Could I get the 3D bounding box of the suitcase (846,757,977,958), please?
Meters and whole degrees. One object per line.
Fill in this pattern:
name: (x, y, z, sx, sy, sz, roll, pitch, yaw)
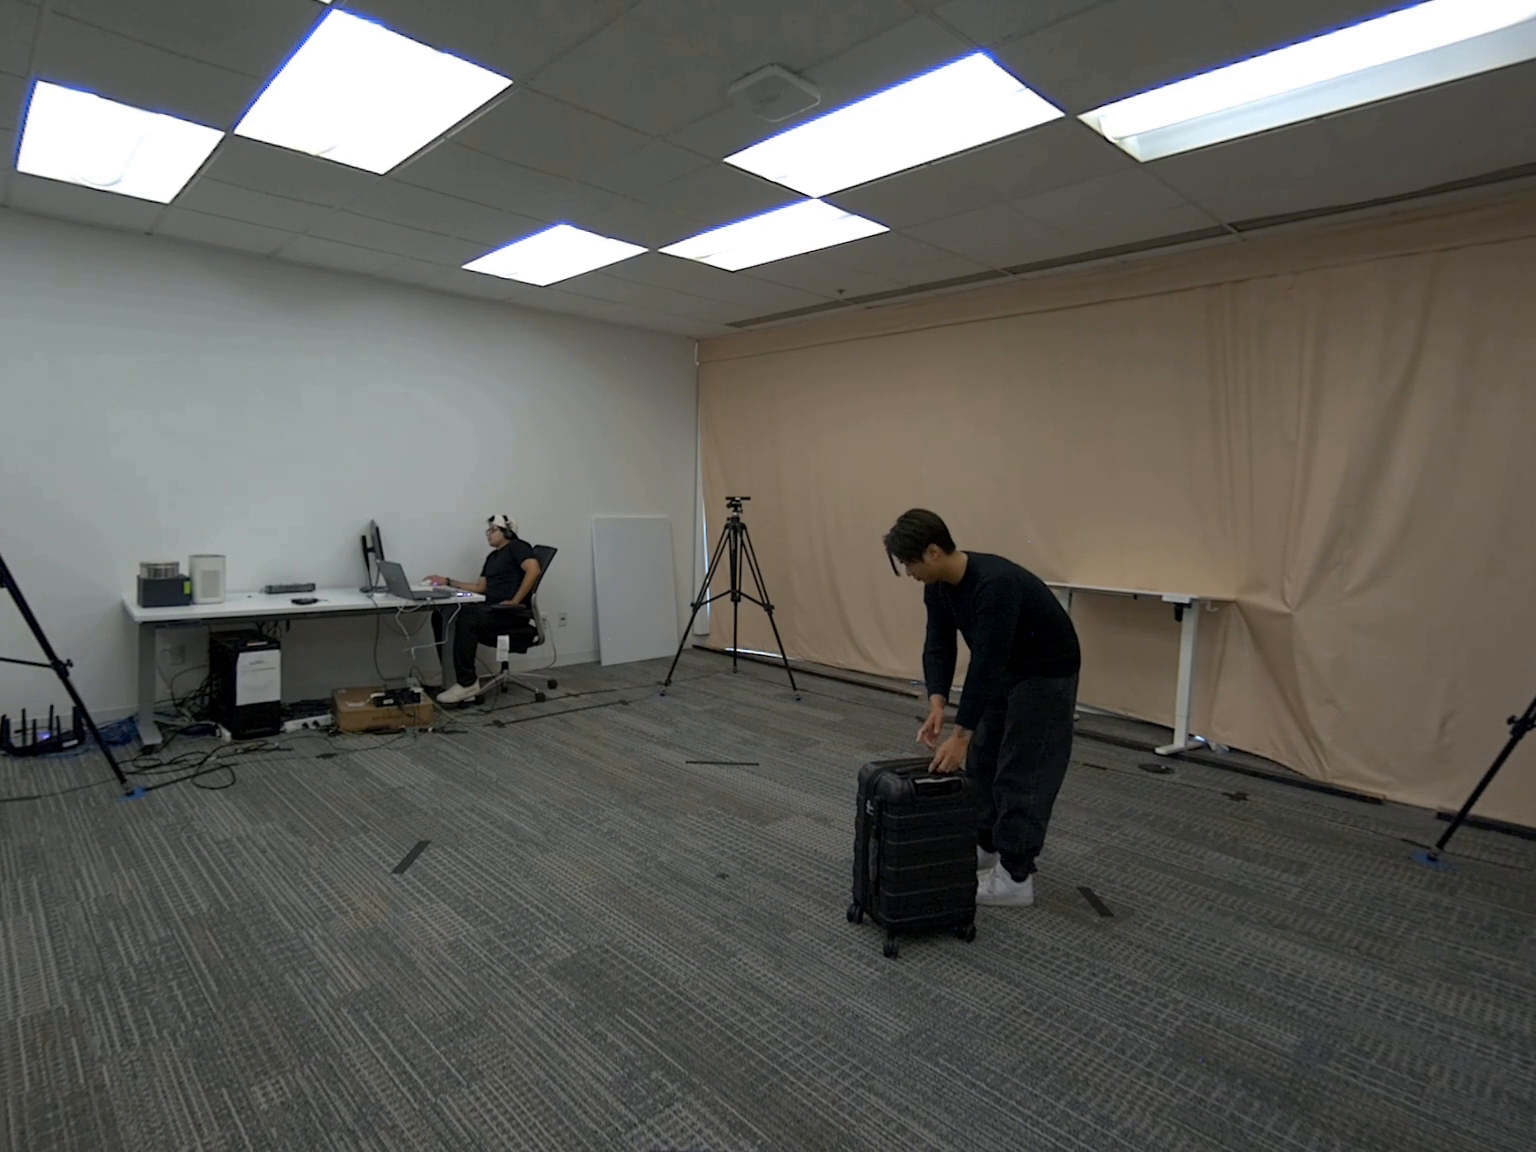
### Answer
suitcase: (0.473, 0.880, 2.736, 0.369, 0.549, 0.253, 1, 2, -22)
